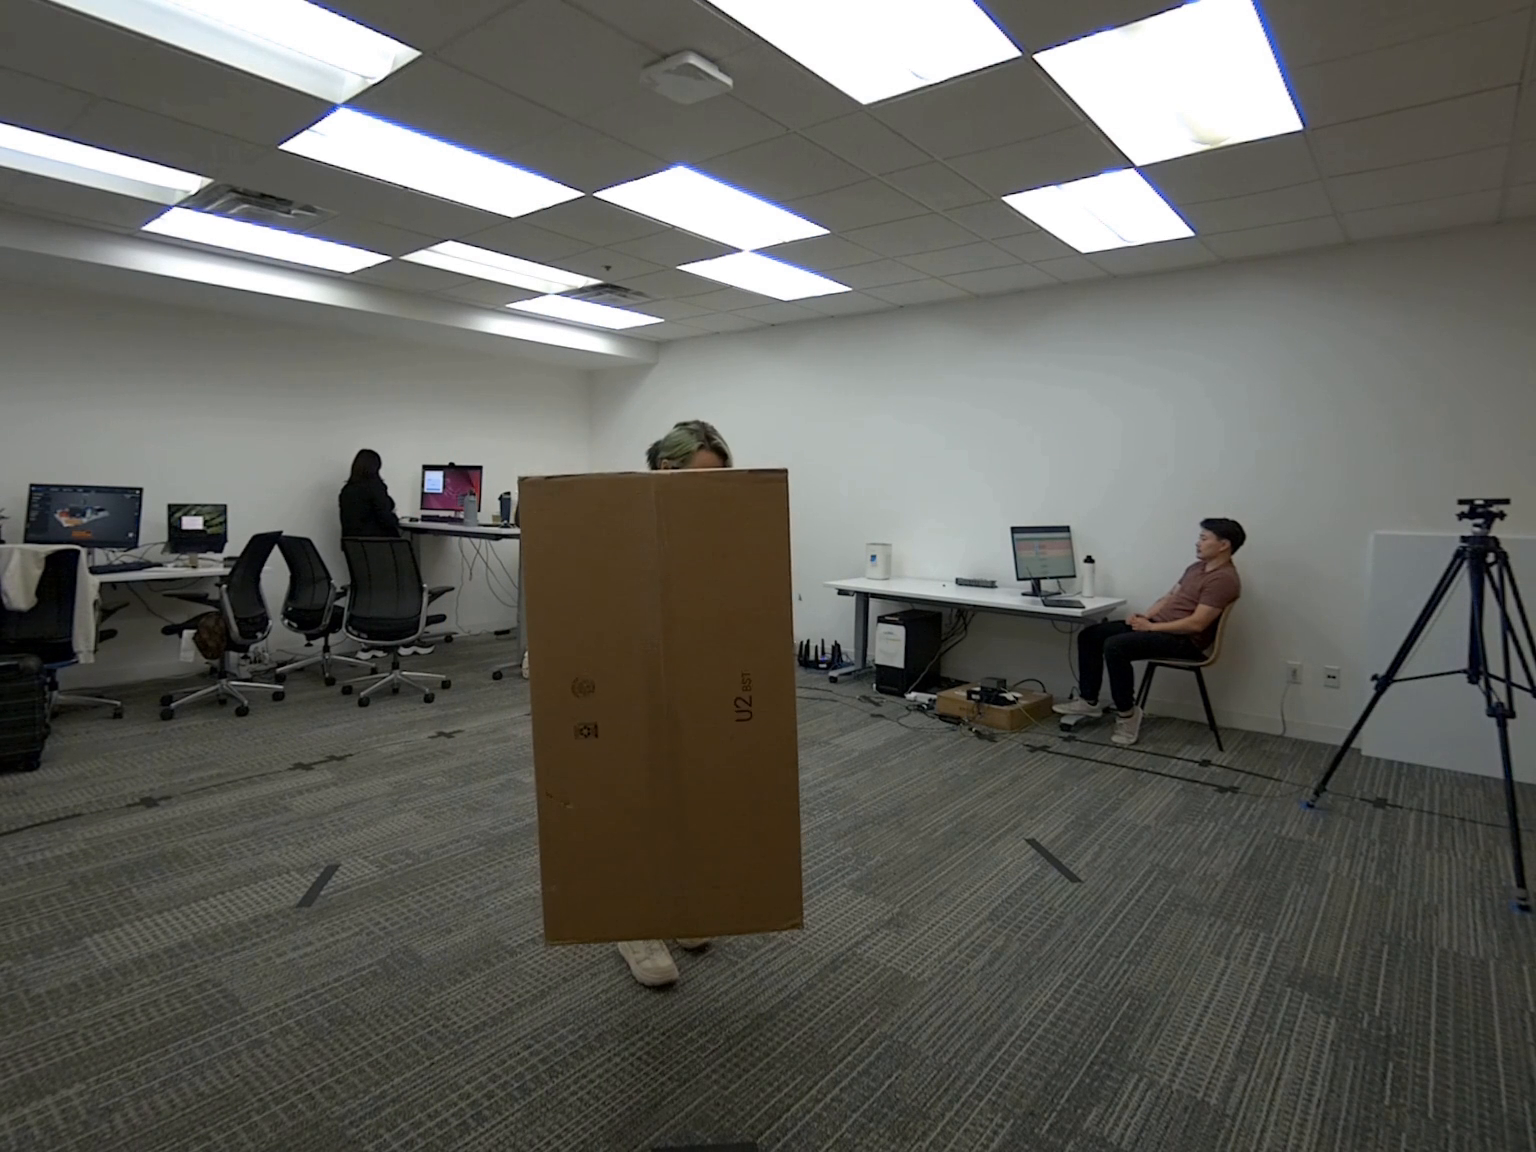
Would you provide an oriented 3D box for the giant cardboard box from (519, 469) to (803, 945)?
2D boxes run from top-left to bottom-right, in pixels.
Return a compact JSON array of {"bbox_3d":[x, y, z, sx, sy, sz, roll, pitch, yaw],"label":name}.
[{"bbox_3d":[-0.255,0.267,2.031,0.581,1.022,0.451,-2,5,-5],"label":"giant cardboard box"}]
